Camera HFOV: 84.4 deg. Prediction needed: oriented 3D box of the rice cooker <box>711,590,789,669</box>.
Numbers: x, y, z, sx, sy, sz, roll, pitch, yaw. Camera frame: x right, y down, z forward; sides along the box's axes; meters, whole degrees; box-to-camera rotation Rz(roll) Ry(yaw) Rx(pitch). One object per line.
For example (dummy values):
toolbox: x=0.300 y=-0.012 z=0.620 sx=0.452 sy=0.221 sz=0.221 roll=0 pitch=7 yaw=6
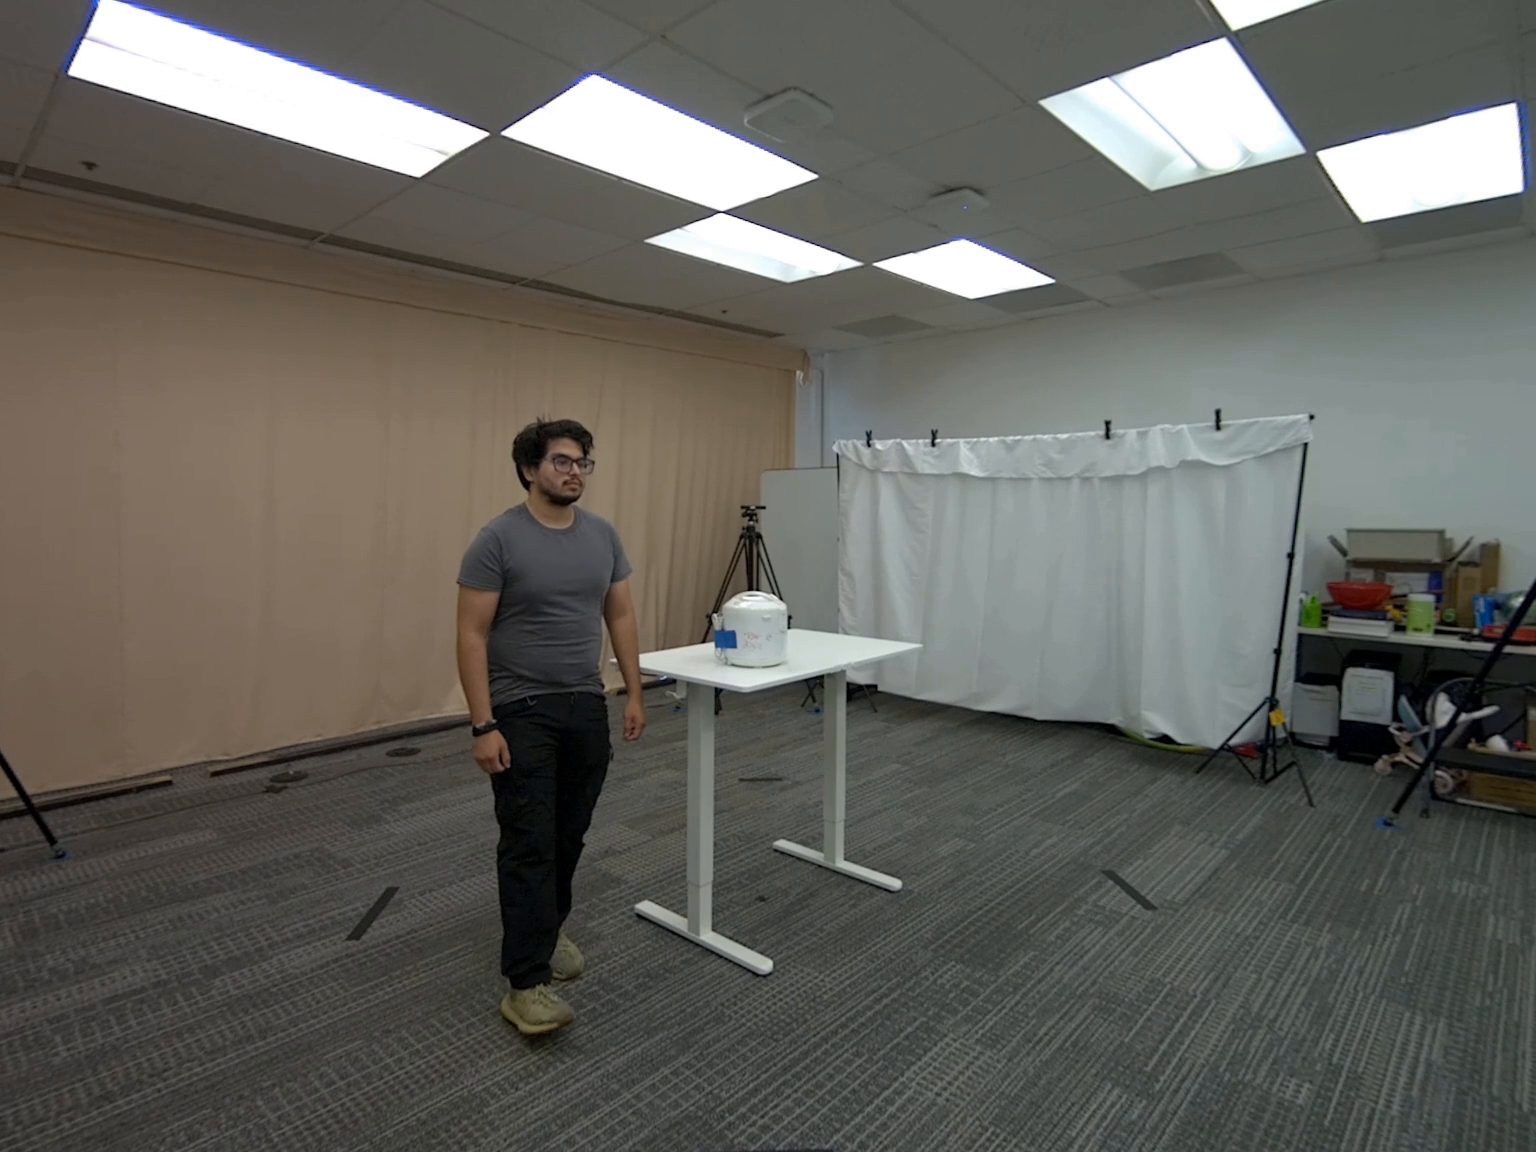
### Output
rice cooker: x=-0.043 y=0.166 z=2.715 sx=0.227 sy=0.232 sz=0.211 roll=3 pitch=5 yaw=32
